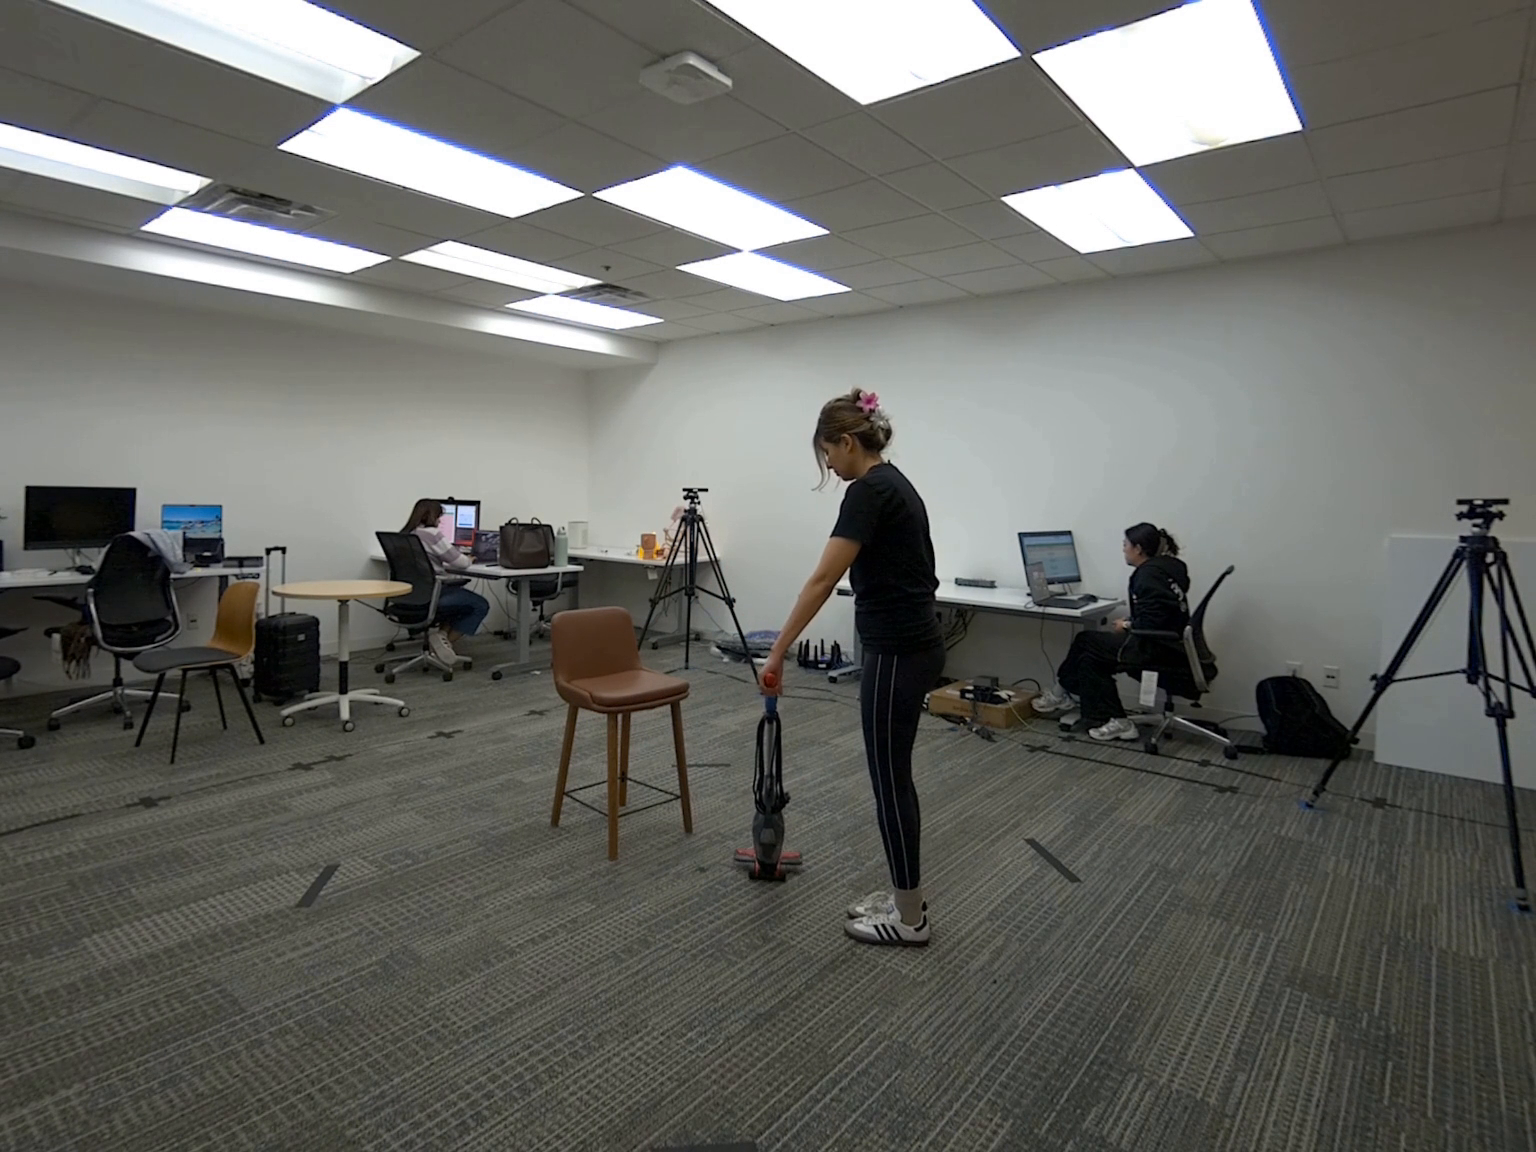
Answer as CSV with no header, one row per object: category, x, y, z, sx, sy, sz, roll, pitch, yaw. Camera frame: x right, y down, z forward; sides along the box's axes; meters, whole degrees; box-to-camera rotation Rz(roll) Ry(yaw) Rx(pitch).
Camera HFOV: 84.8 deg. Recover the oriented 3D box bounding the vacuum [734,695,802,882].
vacuum,-0.012,0.680,2.759,0.254,1.018,0.147,2,42,4
